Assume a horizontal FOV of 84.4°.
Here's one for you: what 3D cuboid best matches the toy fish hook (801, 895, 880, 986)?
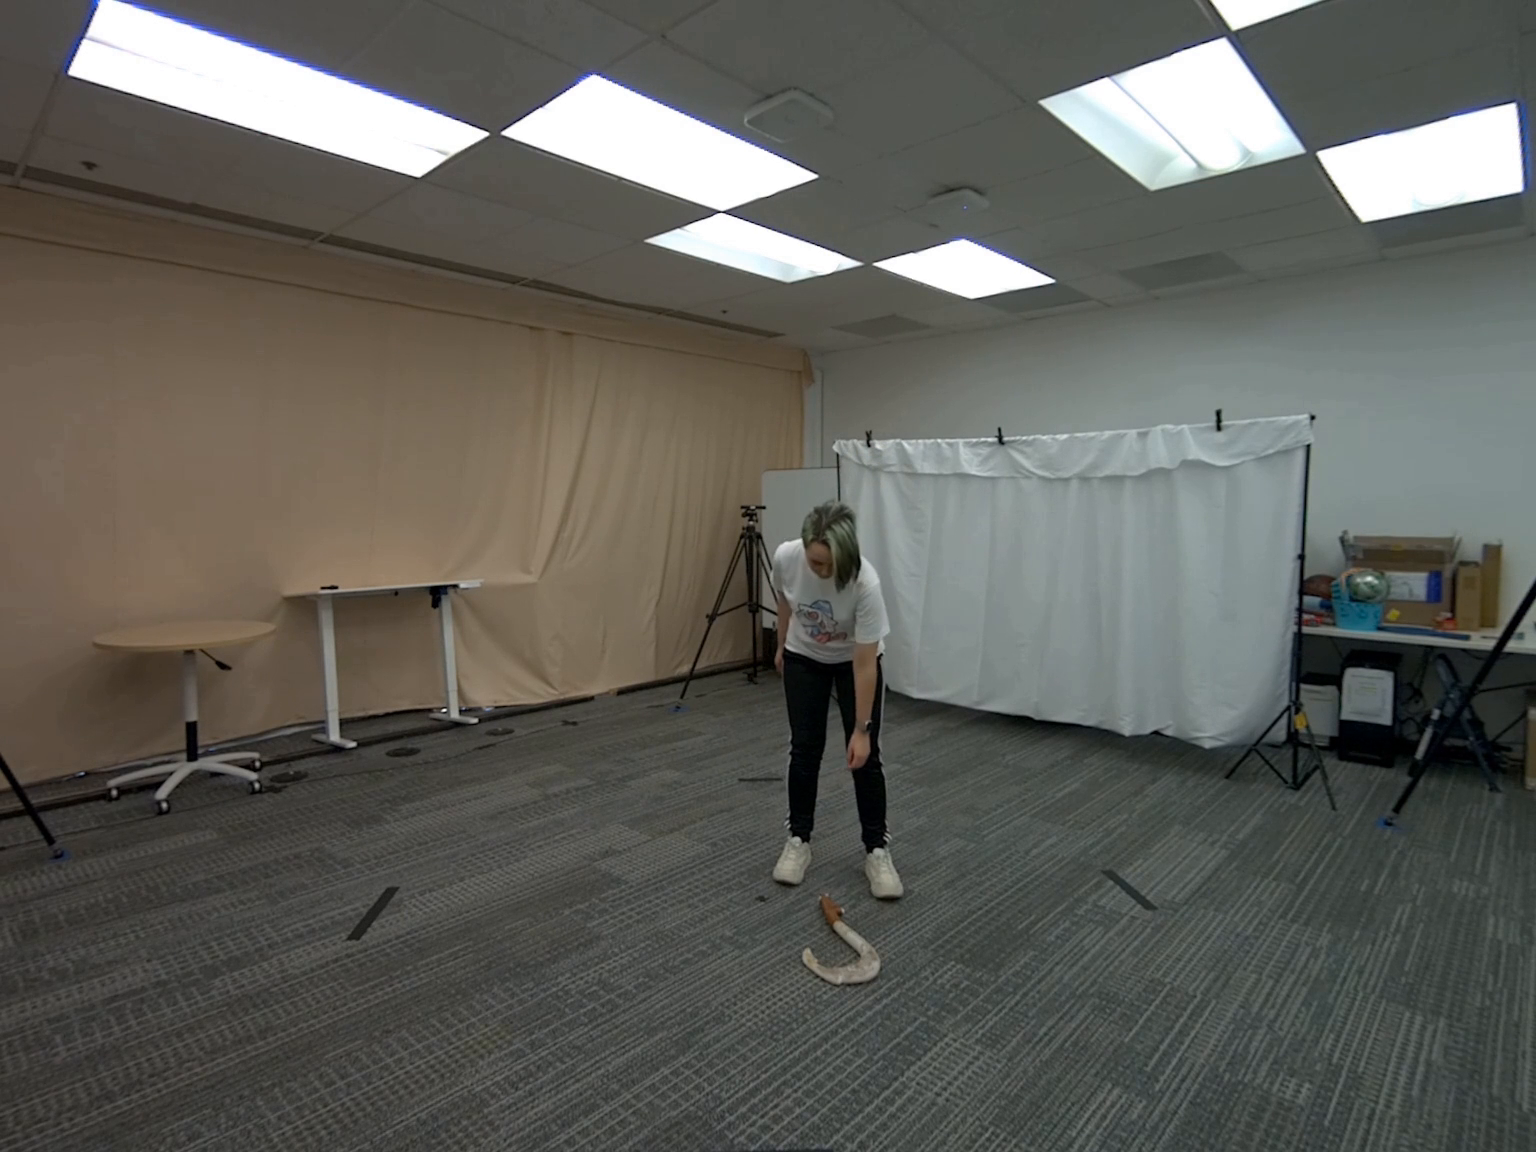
[{"bbox_3d":[0.197,1.145,2.680,0.222,0.048,0.513,0,4,-12],"label":"toy fish hook"}]
